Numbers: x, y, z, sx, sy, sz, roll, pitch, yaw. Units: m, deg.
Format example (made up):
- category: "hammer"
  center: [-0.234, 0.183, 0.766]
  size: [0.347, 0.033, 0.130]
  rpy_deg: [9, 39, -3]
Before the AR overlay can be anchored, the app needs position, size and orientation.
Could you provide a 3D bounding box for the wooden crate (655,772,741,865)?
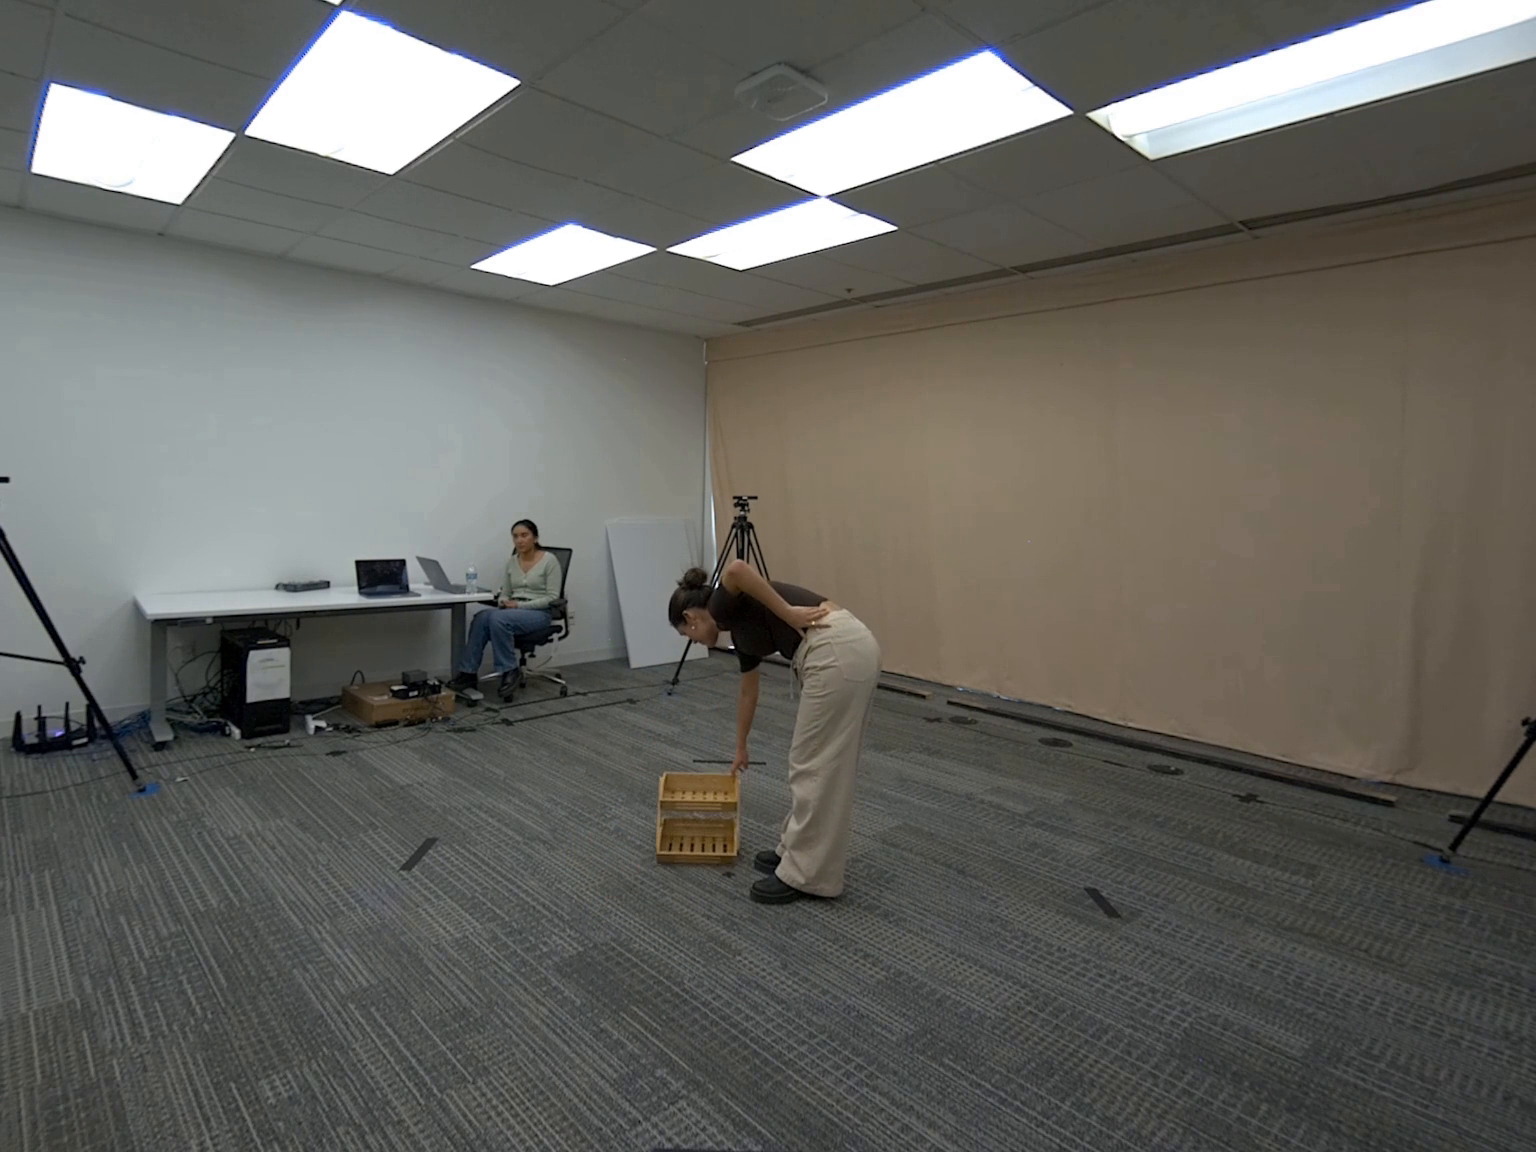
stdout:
- category: "wooden crate"
  center: [-0.279, 0.946, 3.301]
  size: [0.324, 0.272, 0.303]
  rpy_deg: [1, 4, -2]
